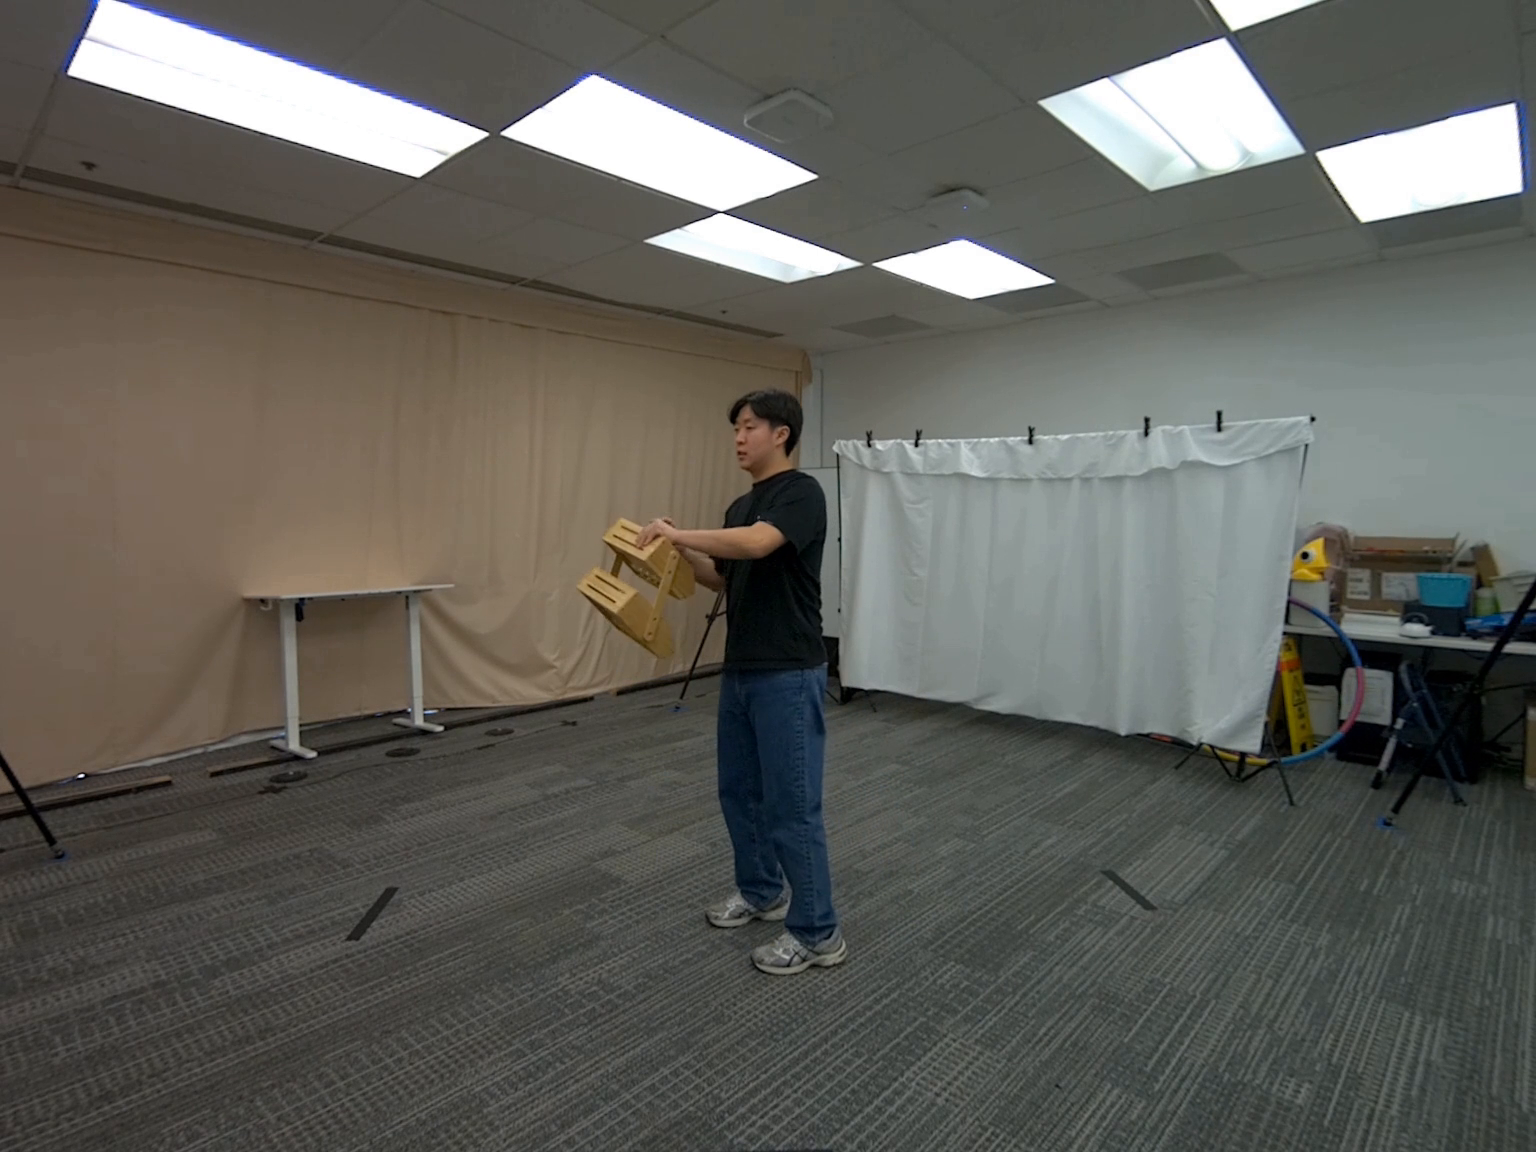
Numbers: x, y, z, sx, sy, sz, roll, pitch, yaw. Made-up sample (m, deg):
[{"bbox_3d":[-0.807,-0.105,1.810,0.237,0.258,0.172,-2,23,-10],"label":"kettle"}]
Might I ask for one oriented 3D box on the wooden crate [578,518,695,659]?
[{"bbox_3d":[-0.387,0.043,2.632,0.336,0.272,0.292,23,-22,52],"label":"wooden crate"}]
